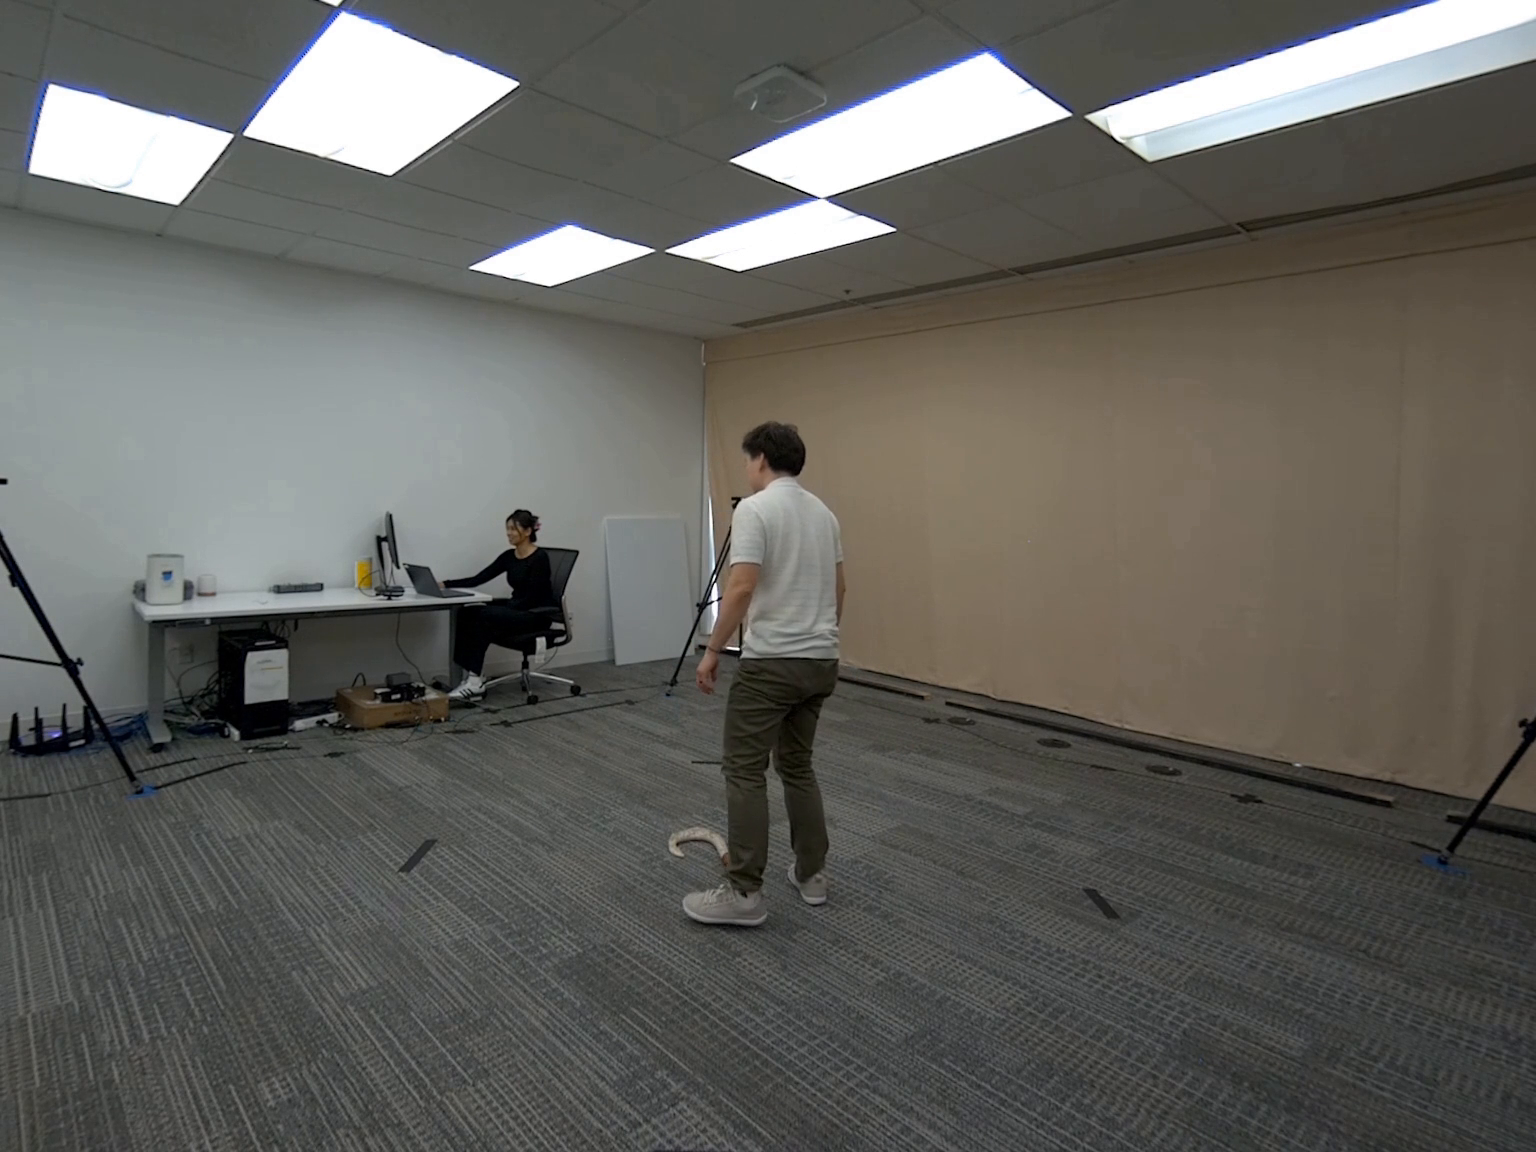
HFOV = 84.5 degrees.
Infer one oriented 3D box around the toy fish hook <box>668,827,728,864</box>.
[{"bbox_3d":[-0.229,1.081,3.229,0.221,0.048,0.518,-10,10,-28],"label":"toy fish hook"}]
